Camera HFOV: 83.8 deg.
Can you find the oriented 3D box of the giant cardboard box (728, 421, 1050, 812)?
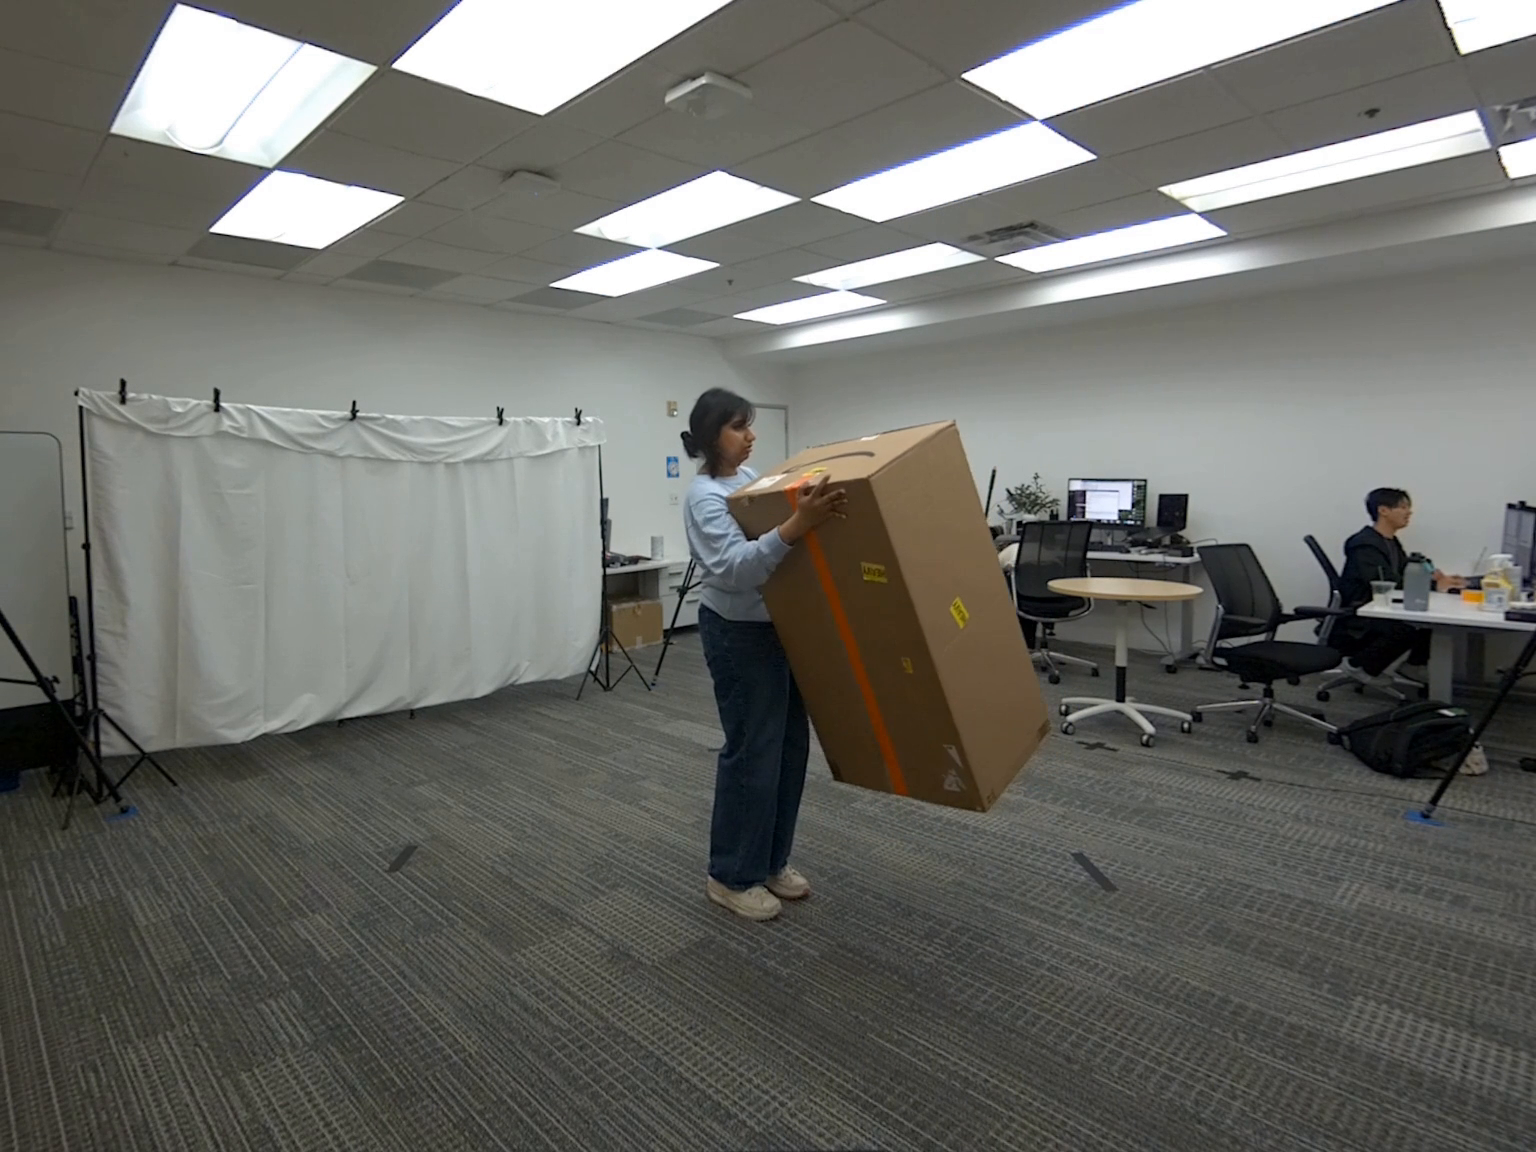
[{"bbox_3d":[0.380,0.123,2.597,0.442,1.010,0.599,-32,17,-36],"label":"giant cardboard box"}]
